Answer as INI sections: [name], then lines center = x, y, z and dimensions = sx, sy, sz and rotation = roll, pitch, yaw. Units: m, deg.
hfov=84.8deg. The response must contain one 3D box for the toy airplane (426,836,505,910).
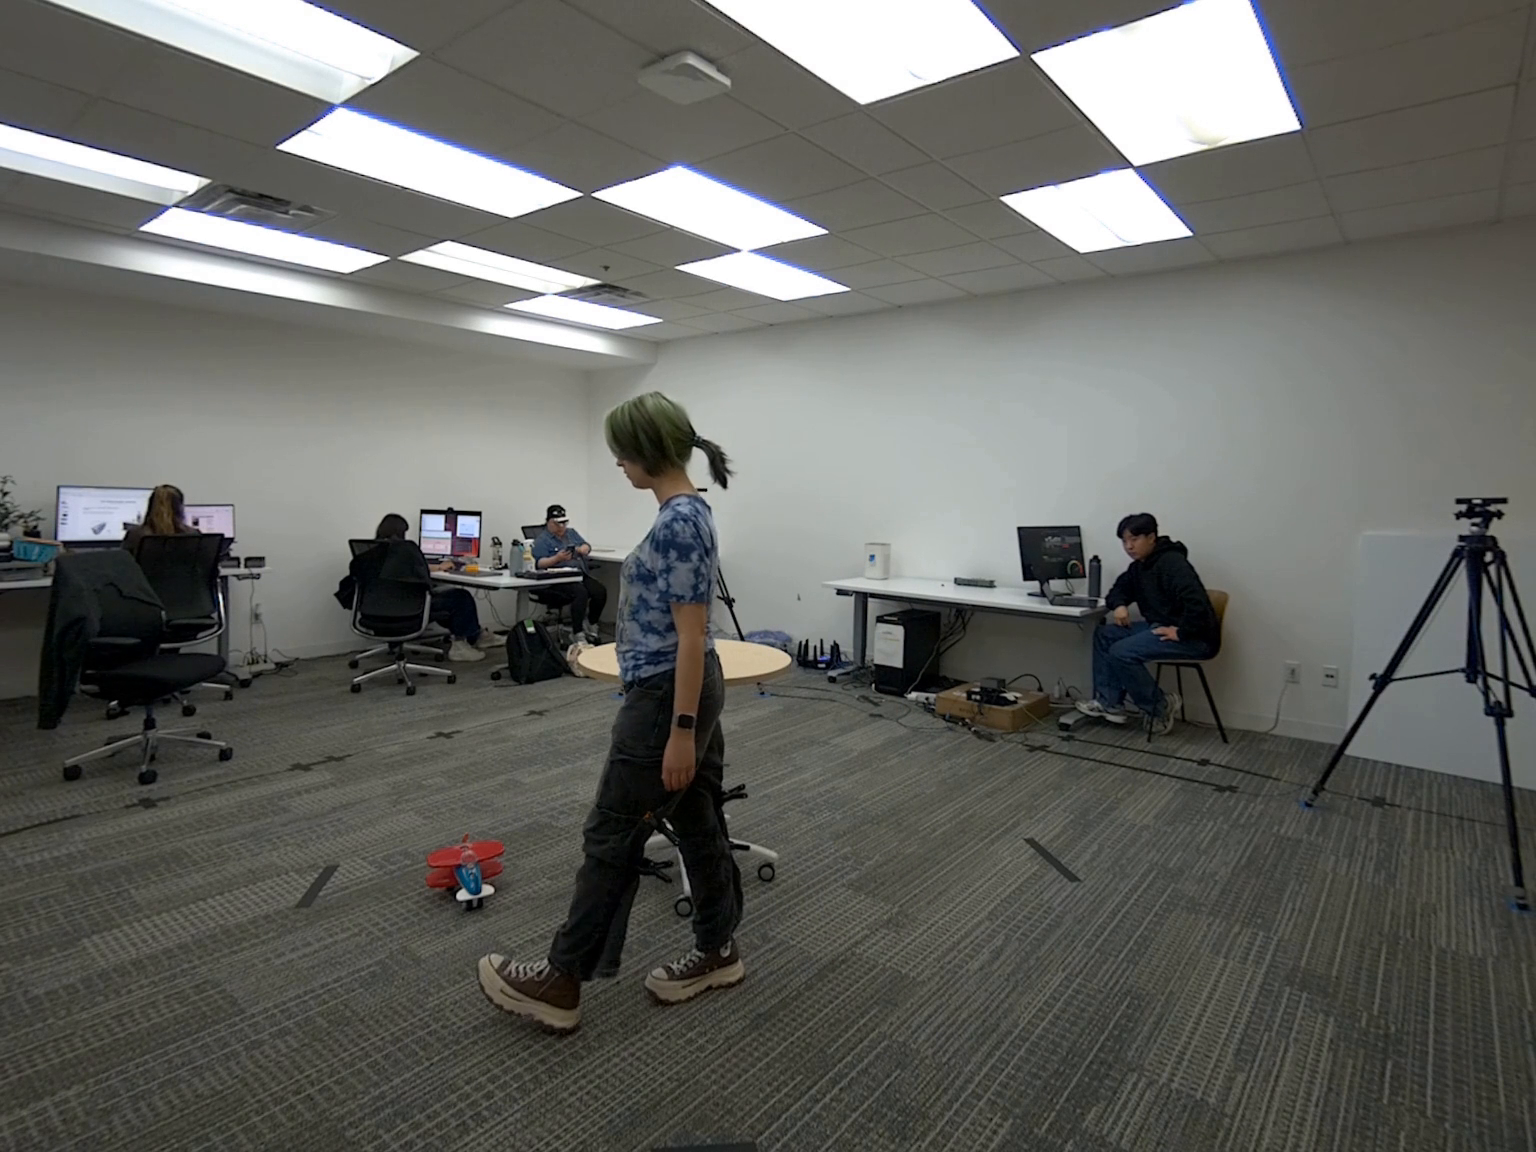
[toy airplane]
center = -1.011, 1.007, 2.880
dimensions = 0.267, 0.156, 0.245
rotation = 2, 5, 31
